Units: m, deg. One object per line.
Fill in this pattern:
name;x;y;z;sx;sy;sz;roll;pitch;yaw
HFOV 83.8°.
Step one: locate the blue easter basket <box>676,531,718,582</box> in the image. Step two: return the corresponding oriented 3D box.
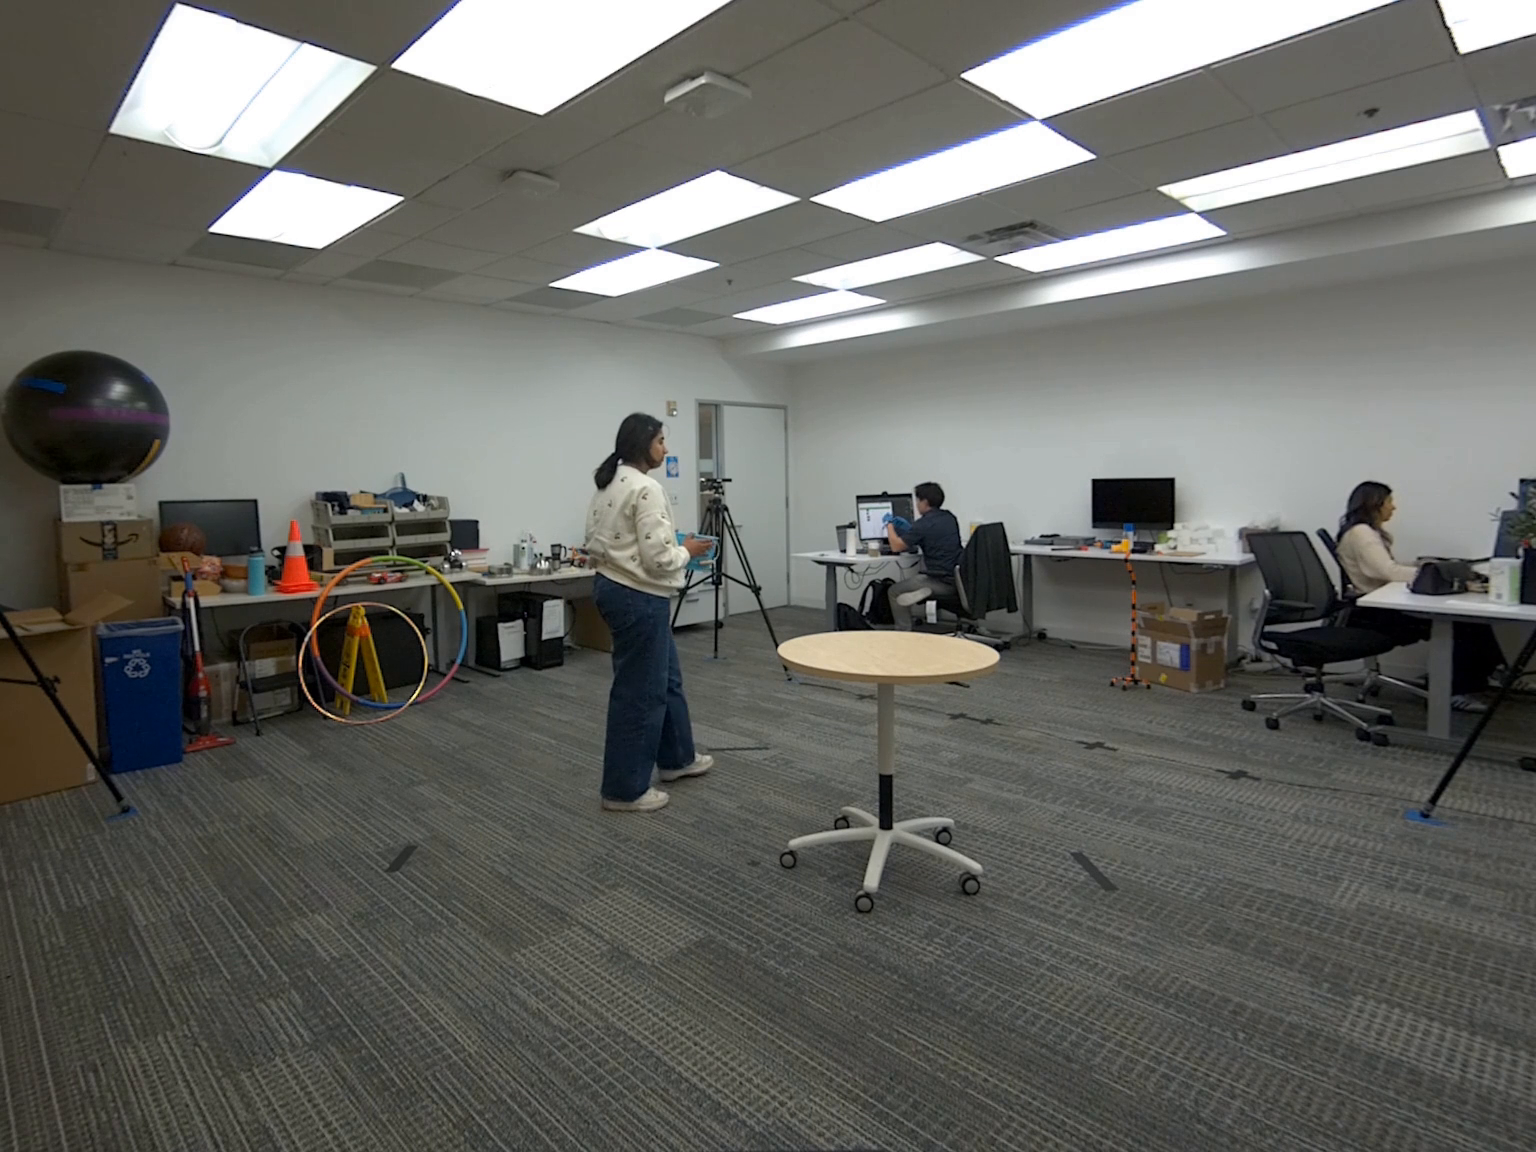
blue easter basket;-0.347;-0.106;3.816;0.243;0.155;0.244;4;3;-2
